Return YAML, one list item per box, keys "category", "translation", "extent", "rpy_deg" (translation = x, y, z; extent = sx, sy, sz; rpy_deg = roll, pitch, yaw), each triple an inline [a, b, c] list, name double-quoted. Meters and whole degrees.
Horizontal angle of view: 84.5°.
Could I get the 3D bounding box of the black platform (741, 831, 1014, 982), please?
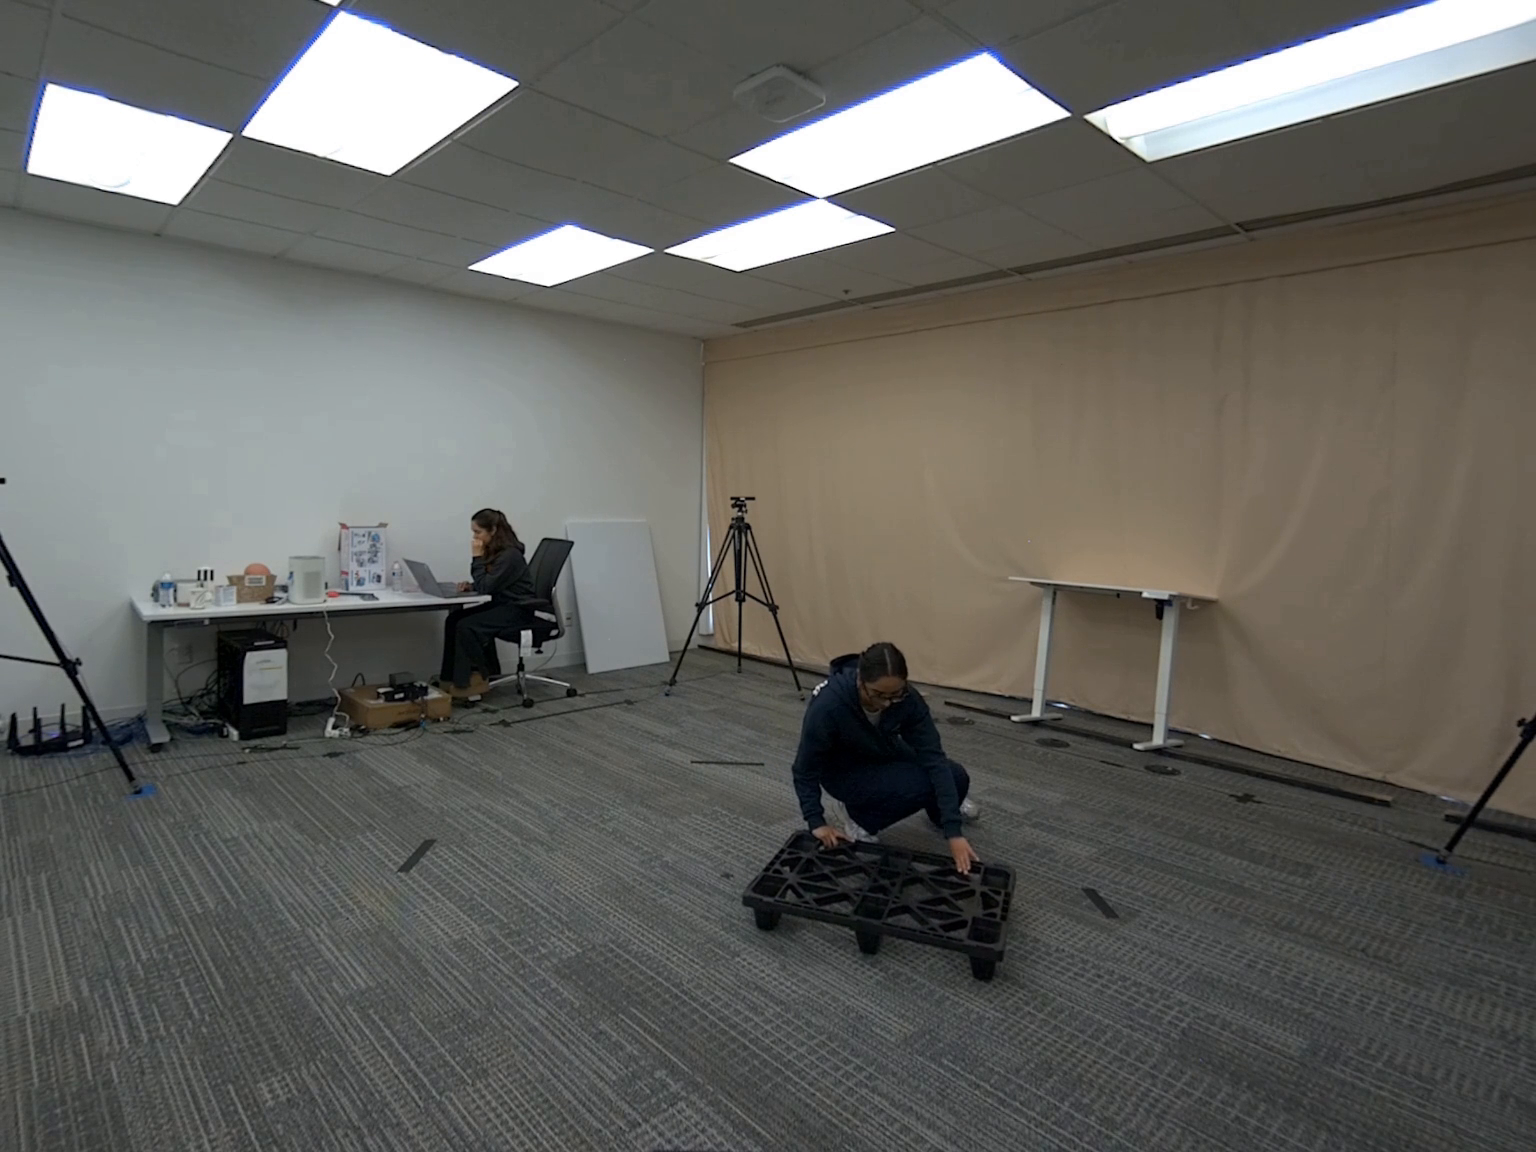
- category: "black platform"
  translation: [0.372, 1.076, 2.814]
  extent: [0.819, 0.143, 0.597]
  rpy_deg: [3, 5, 20]
